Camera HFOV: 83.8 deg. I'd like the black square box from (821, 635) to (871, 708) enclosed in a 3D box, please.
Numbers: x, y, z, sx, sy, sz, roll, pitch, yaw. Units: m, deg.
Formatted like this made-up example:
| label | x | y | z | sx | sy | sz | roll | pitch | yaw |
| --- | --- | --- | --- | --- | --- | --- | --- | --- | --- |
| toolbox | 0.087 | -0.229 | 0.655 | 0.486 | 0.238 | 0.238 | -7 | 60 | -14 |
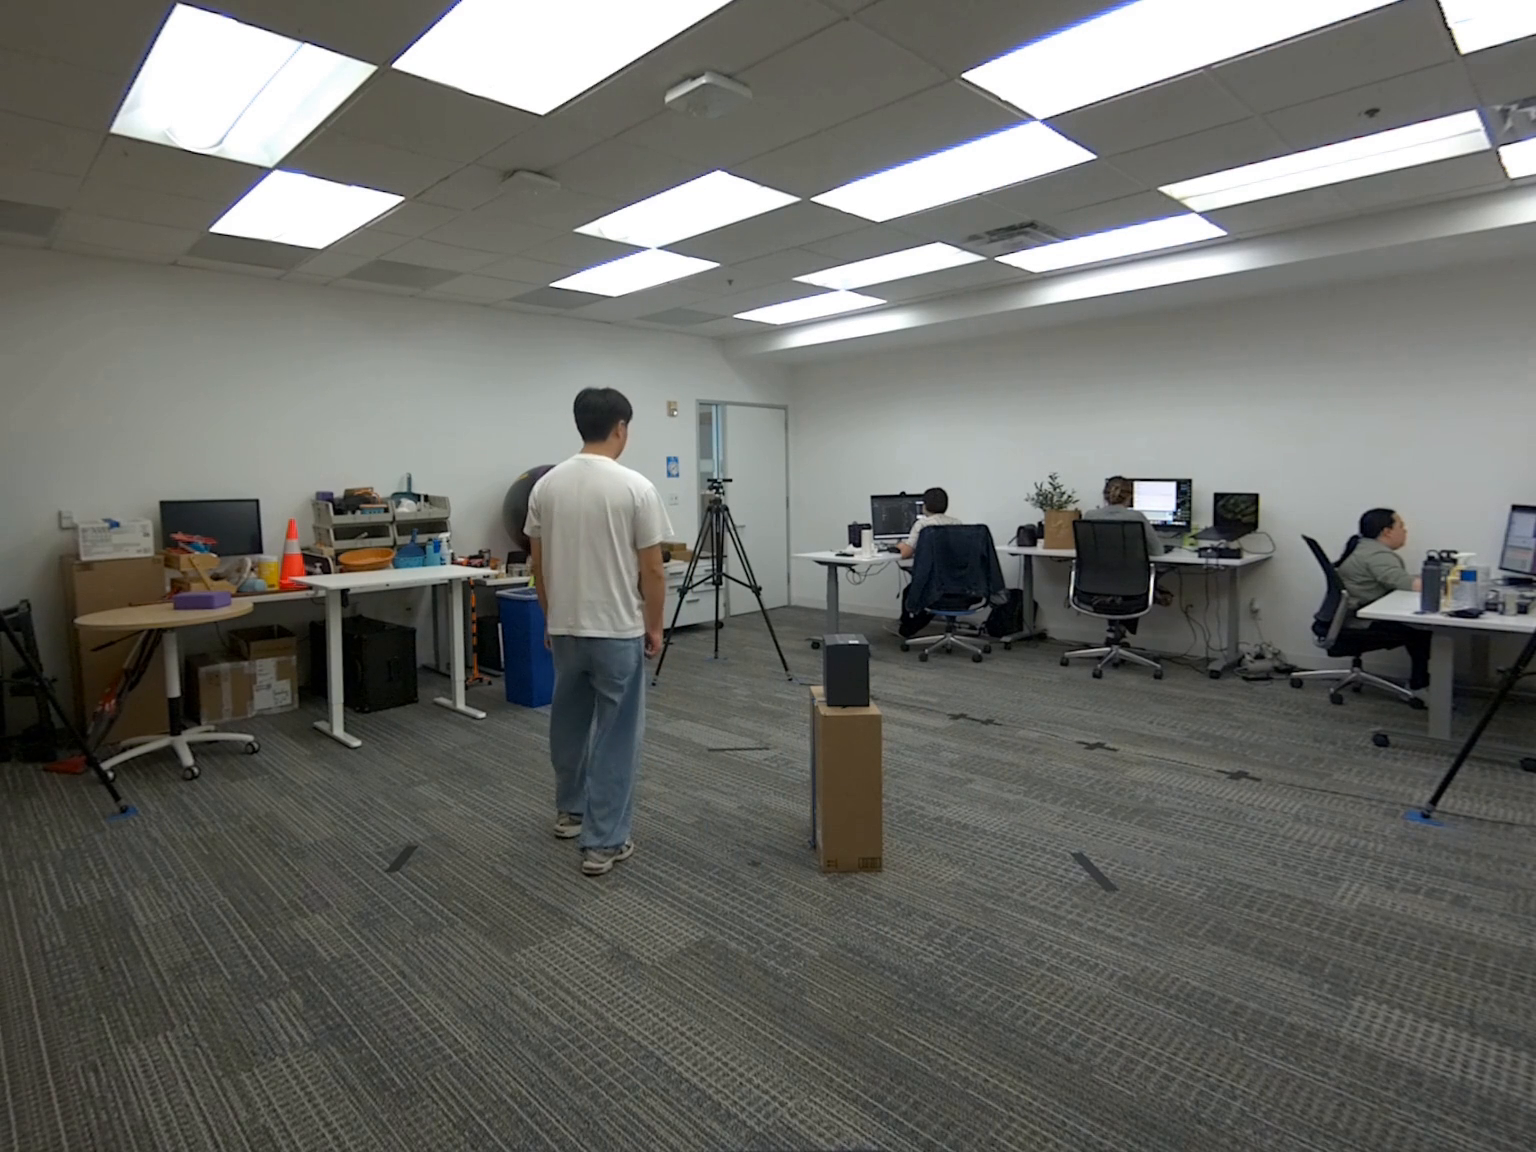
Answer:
| label | x | y | z | sx | sy | sz | roll | pitch | yaw |
| --- | --- | --- | --- | --- | --- | --- | --- | --- | --- |
| black square box | 0.287 | 0.345 | 3.198 | 0.157 | 0.227 | 0.217 | 1 | 6 | 5 |
